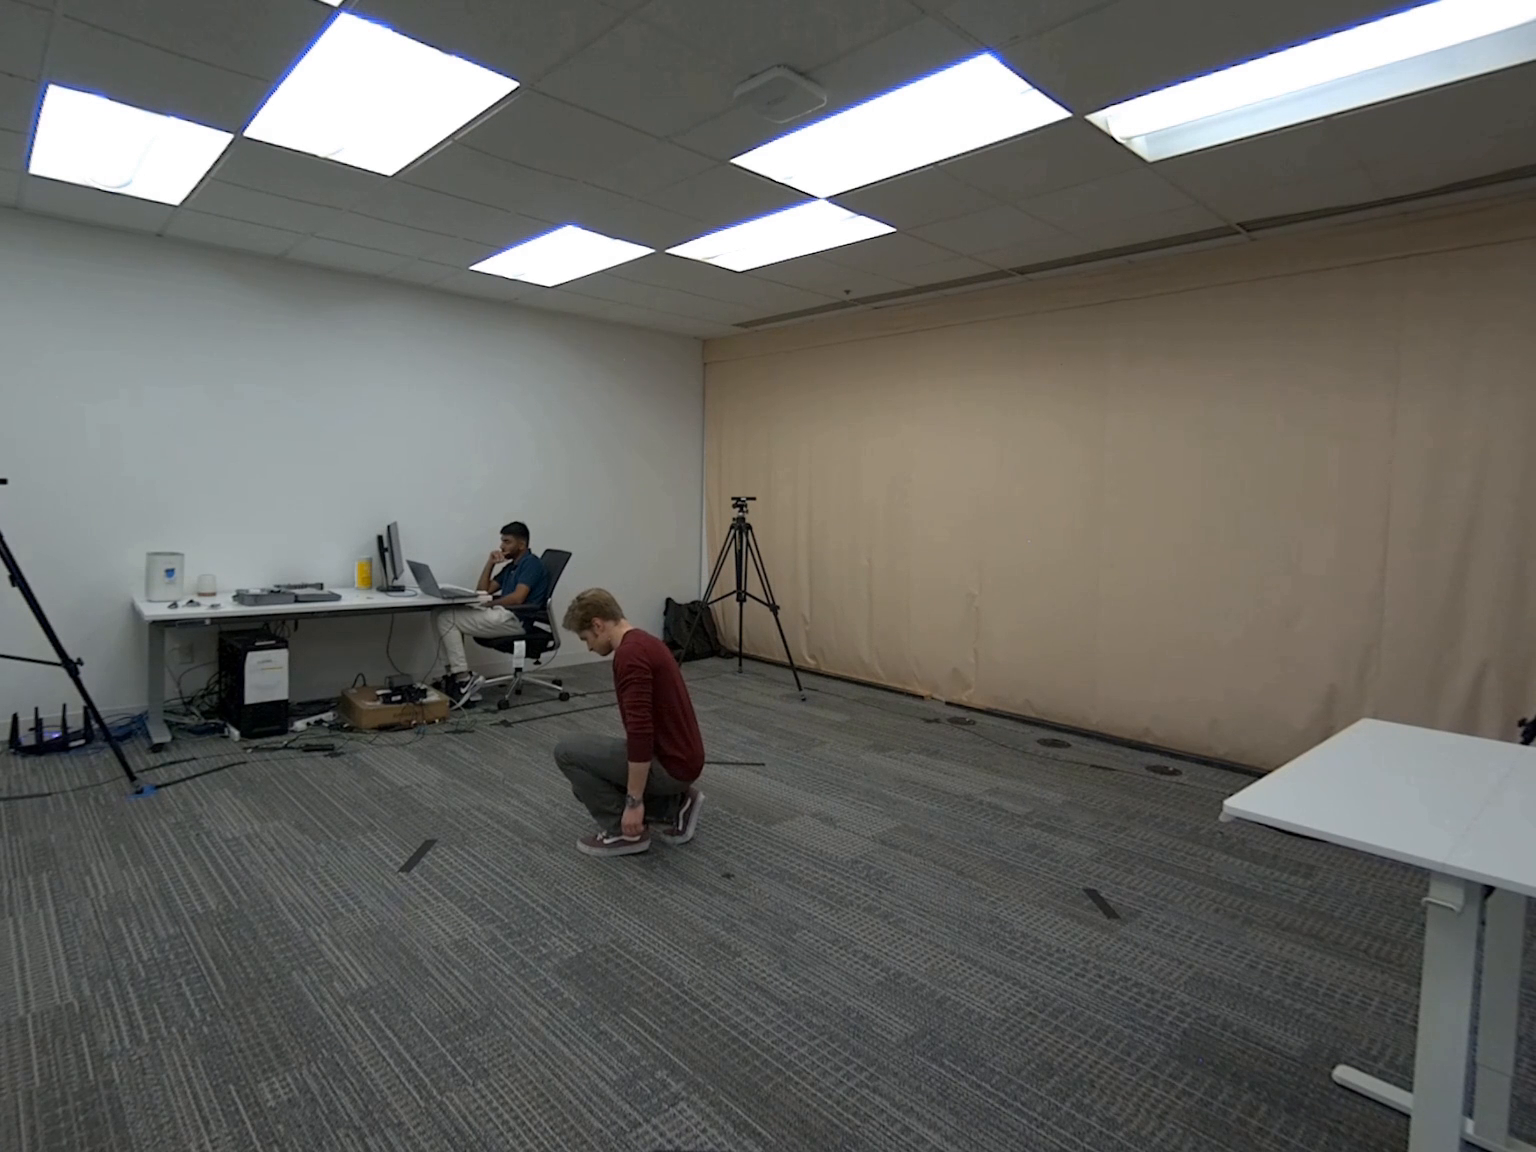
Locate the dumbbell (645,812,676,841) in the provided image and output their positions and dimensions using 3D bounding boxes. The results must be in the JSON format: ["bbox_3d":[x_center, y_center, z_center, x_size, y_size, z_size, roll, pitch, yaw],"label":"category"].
[{"bbox_3d":[-0.468,0.999,3.607,0.295,0.120,0.110,3,34,5],"label":"dumbbell"}]
